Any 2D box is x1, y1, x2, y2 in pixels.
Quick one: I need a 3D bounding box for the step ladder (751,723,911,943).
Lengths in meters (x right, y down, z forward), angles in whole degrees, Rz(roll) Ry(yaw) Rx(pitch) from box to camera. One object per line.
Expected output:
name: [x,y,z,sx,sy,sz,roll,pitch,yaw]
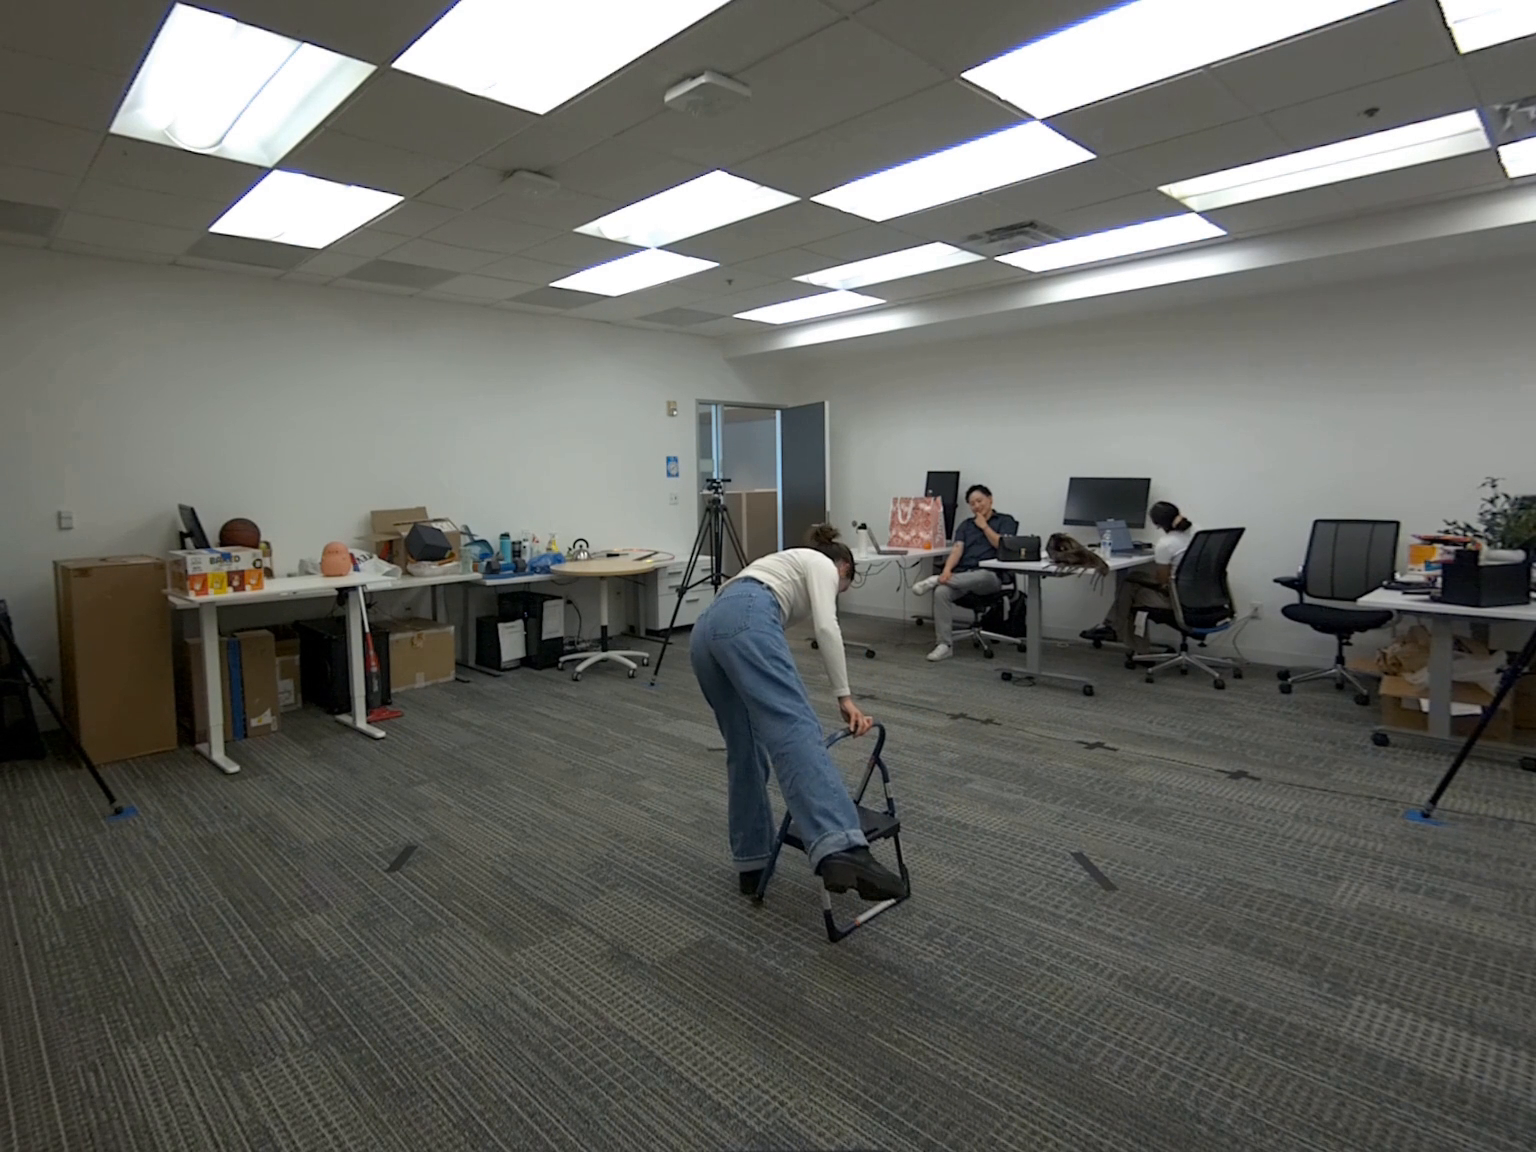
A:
step ladder: [0.222,0.768,2.793,0.360,0.602,0.419,7,9,43]
